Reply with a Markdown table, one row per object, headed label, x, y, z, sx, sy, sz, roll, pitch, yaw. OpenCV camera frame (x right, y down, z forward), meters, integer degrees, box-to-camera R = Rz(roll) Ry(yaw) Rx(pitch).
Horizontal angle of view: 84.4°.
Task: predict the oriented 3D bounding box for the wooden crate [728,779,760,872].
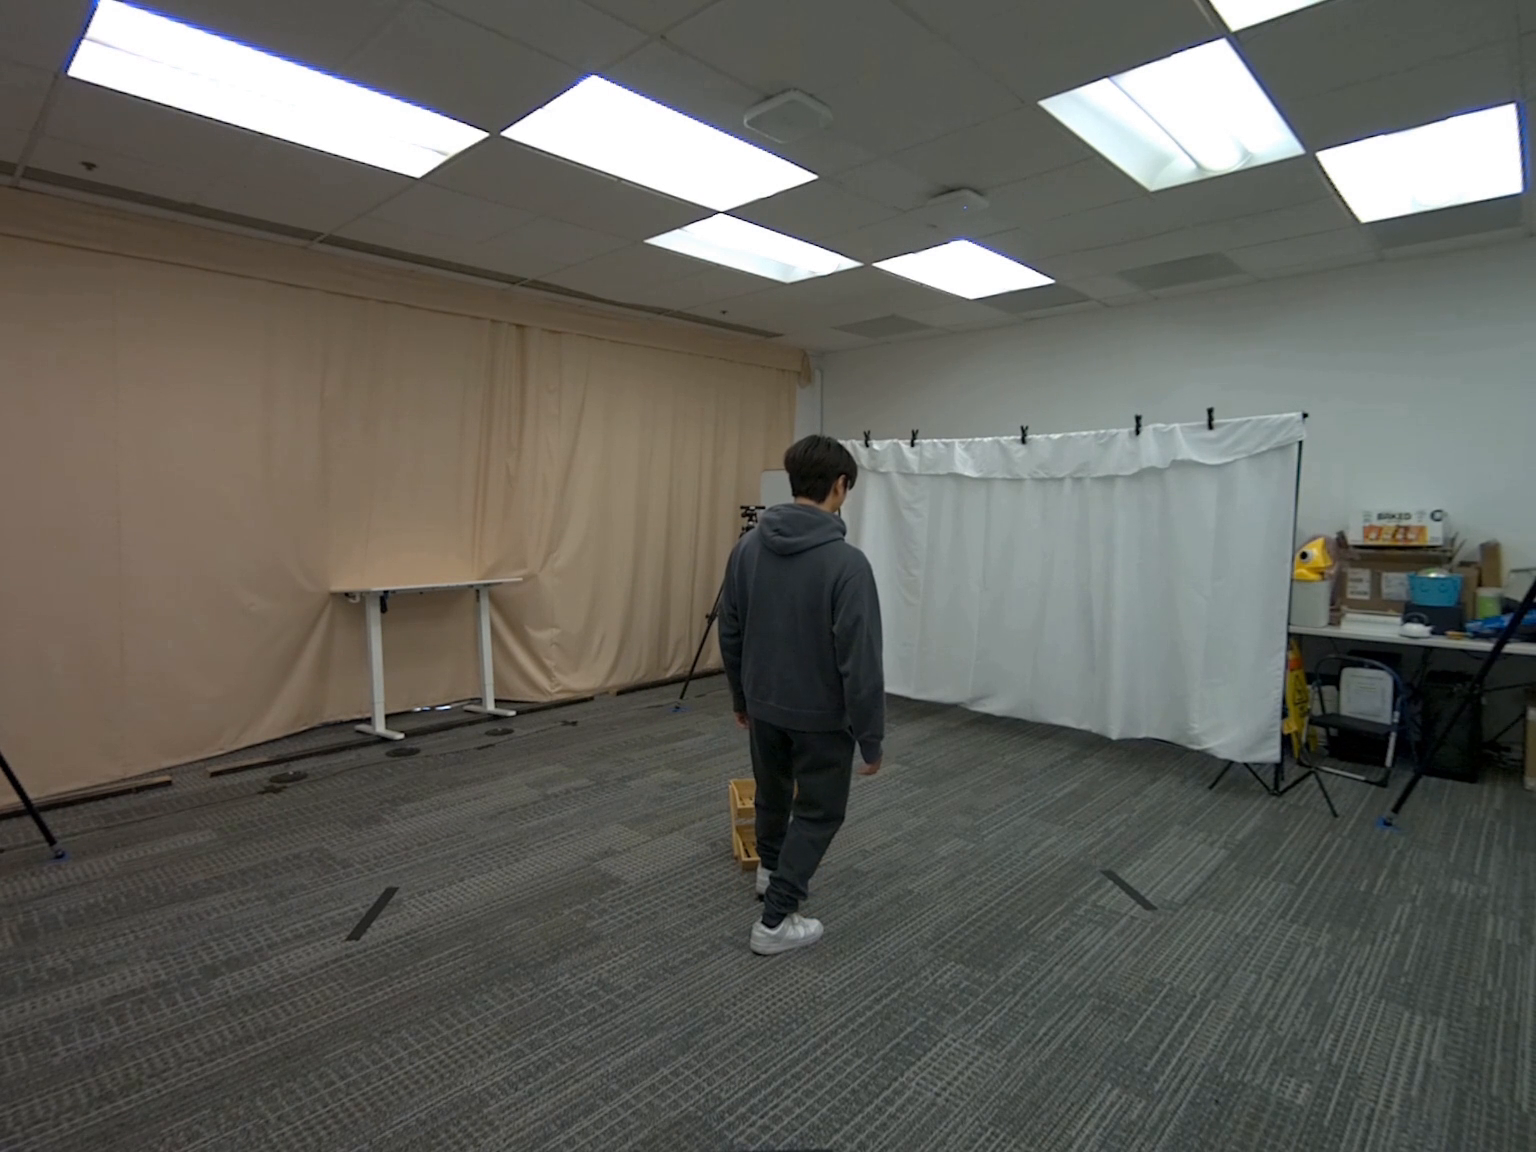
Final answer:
| label | x | y | z | sx | sy | sz | roll | pitch | yaw |
| --- | --- | --- | --- | --- | --- | --- | --- | --- | --- |
| wooden crate | 0.024 | 0.976 | 3.354 | 0.321 | 0.273 | 0.306 | -1 | 3 | -10 |
